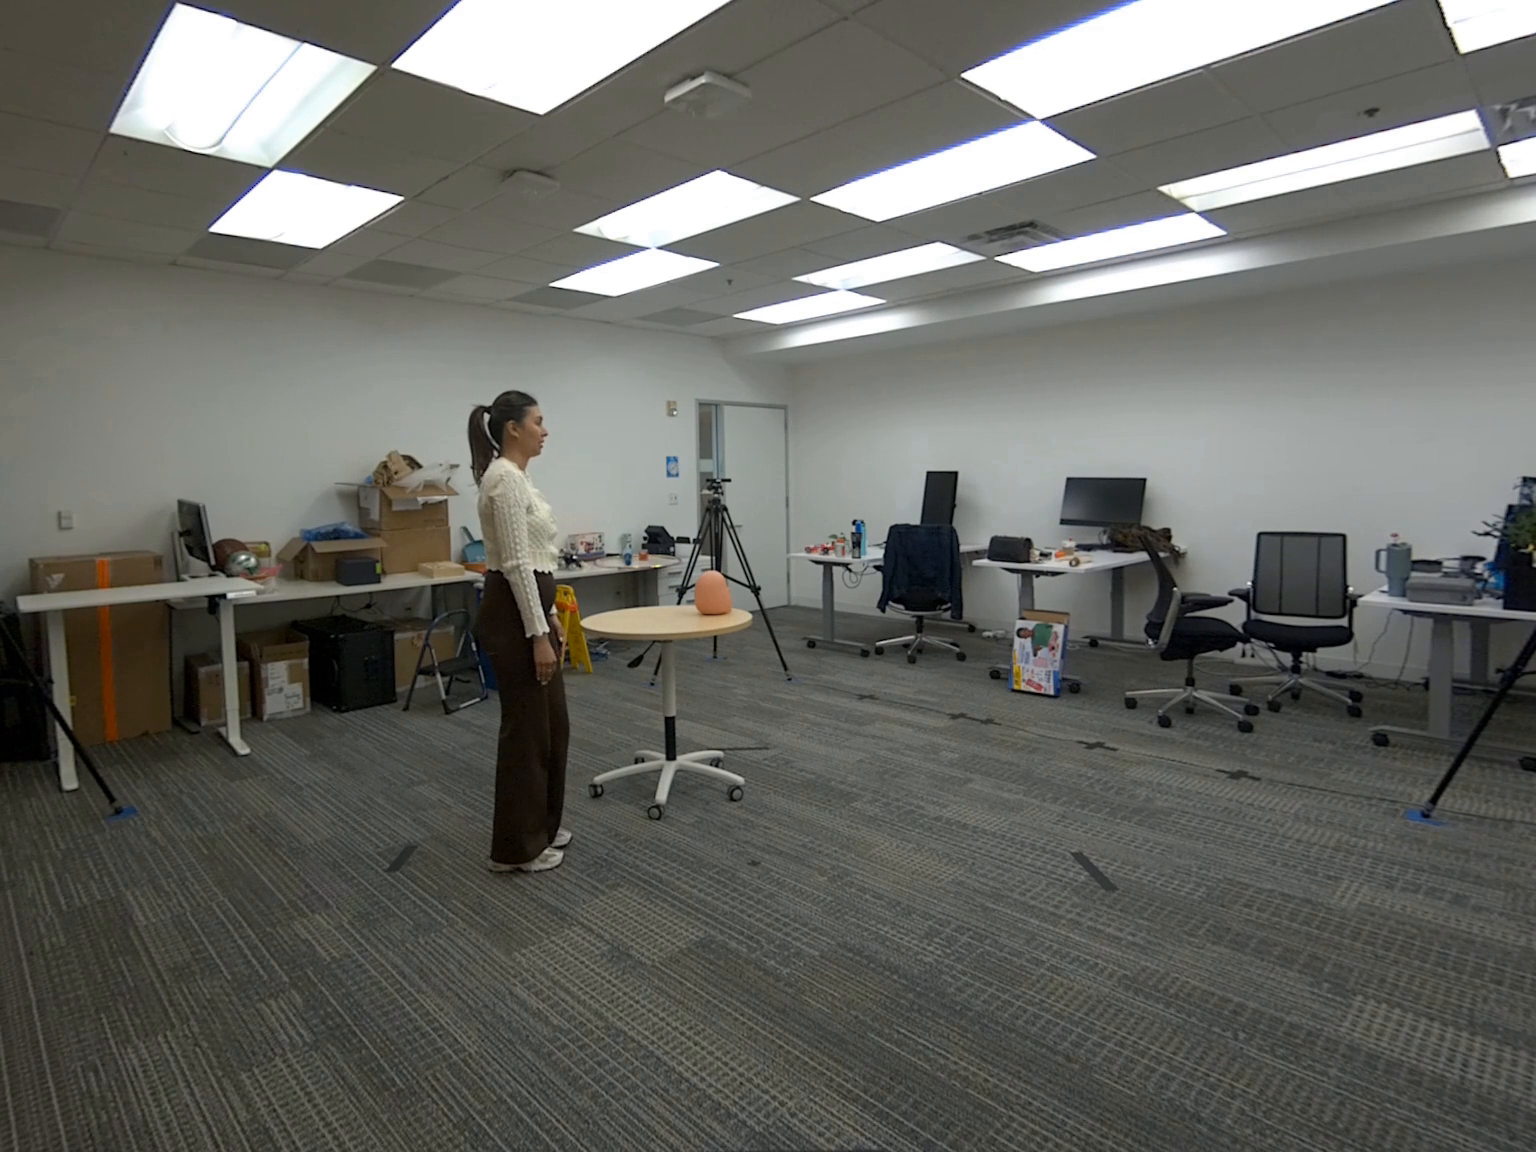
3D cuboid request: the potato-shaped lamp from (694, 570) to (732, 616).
[{"bbox_3d":[-0.254,0.075,3.909,0.169,0.197,0.167,0,6,35],"label":"potato-shaped lamp"}]
